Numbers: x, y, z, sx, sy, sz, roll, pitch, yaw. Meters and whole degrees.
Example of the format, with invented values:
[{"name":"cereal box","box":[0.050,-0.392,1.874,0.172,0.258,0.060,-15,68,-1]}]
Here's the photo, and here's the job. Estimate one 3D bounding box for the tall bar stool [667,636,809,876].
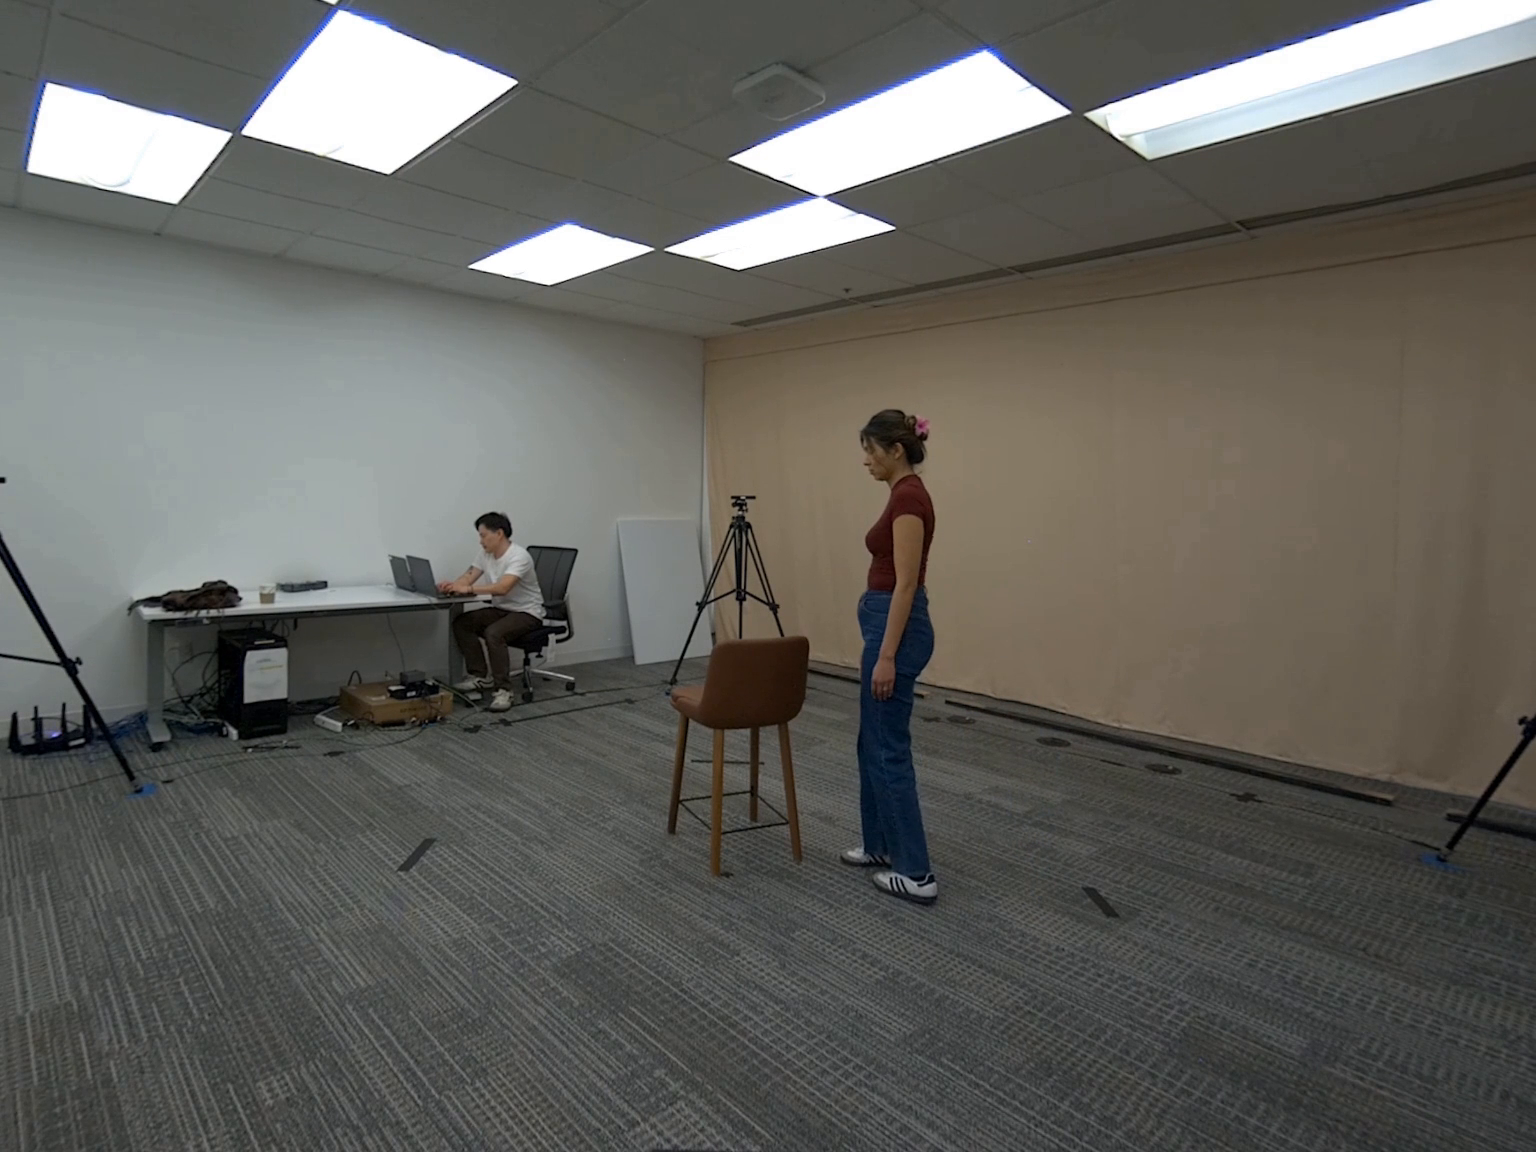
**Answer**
[{"name":"tall bar stool","box":[-0.124,0.642,3.329,0.448,0.886,0.478,0,6,-26]}]
